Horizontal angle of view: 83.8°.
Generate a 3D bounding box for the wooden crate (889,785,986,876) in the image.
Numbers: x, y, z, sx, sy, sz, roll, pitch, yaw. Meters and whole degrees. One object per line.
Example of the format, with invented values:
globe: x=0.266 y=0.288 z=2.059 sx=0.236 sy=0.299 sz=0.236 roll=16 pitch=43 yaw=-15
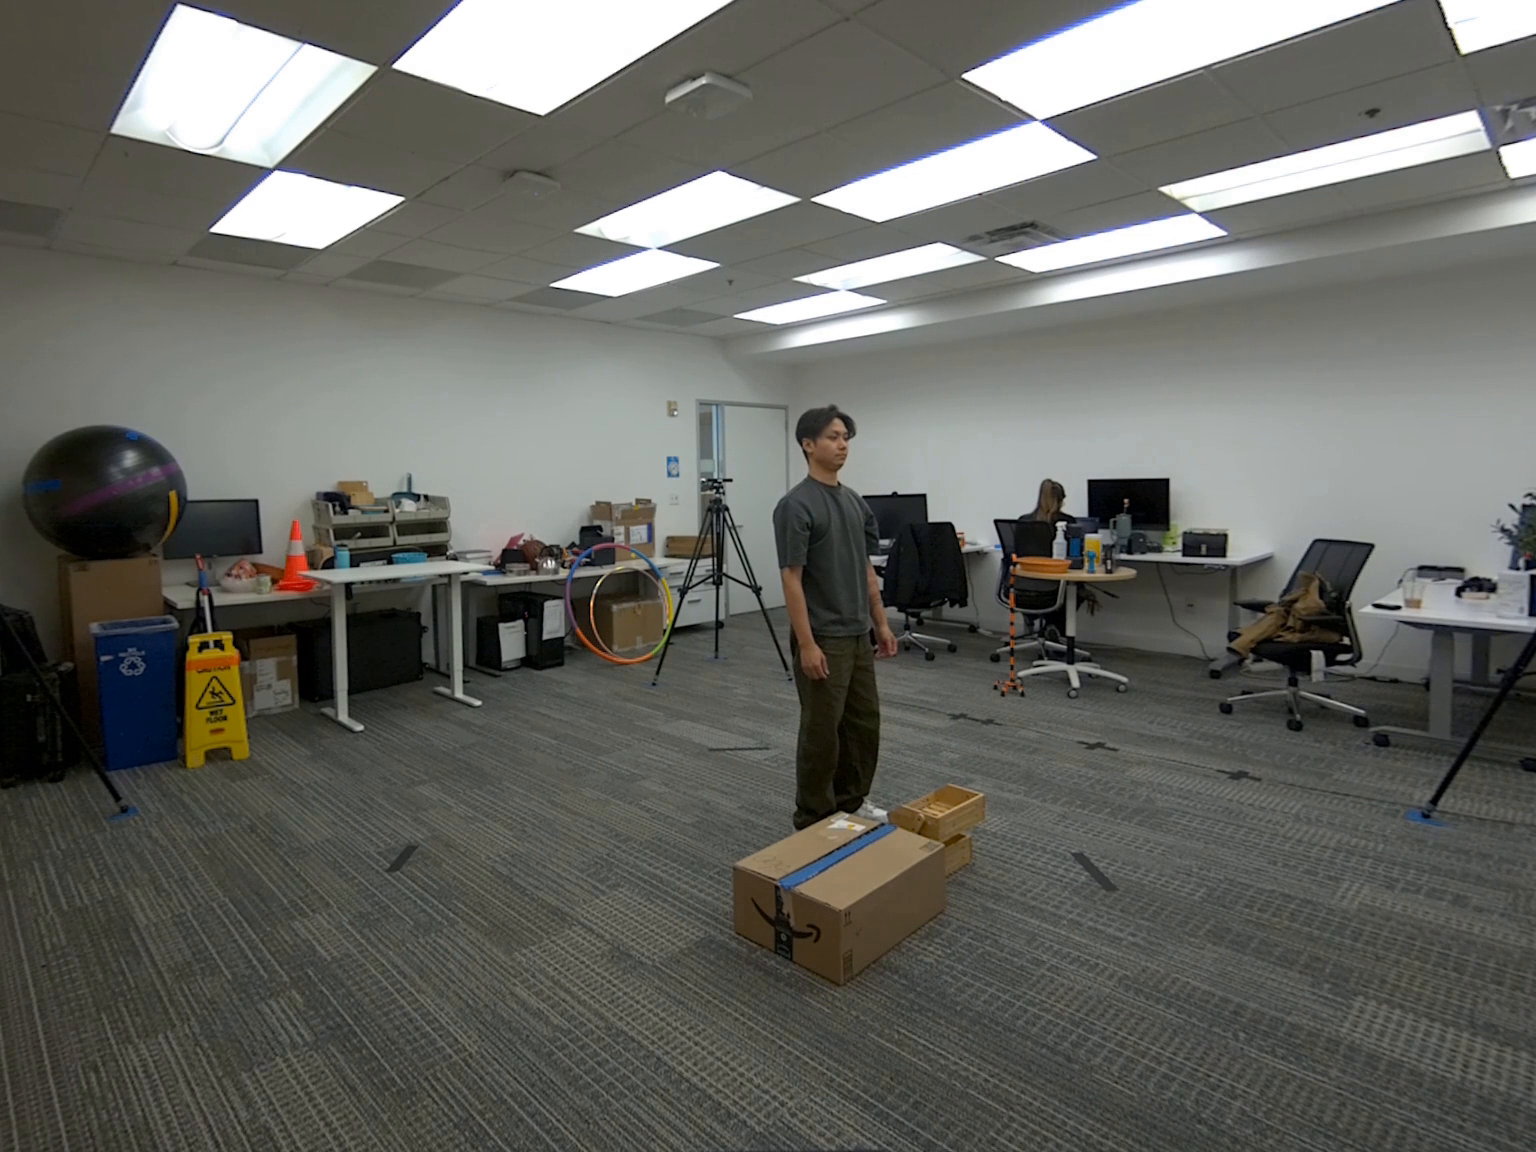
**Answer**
wooden crate: x=0.562 y=0.901 z=3.061 sx=0.316 sy=0.272 sz=0.311 roll=-5 pitch=6 yaw=-44
